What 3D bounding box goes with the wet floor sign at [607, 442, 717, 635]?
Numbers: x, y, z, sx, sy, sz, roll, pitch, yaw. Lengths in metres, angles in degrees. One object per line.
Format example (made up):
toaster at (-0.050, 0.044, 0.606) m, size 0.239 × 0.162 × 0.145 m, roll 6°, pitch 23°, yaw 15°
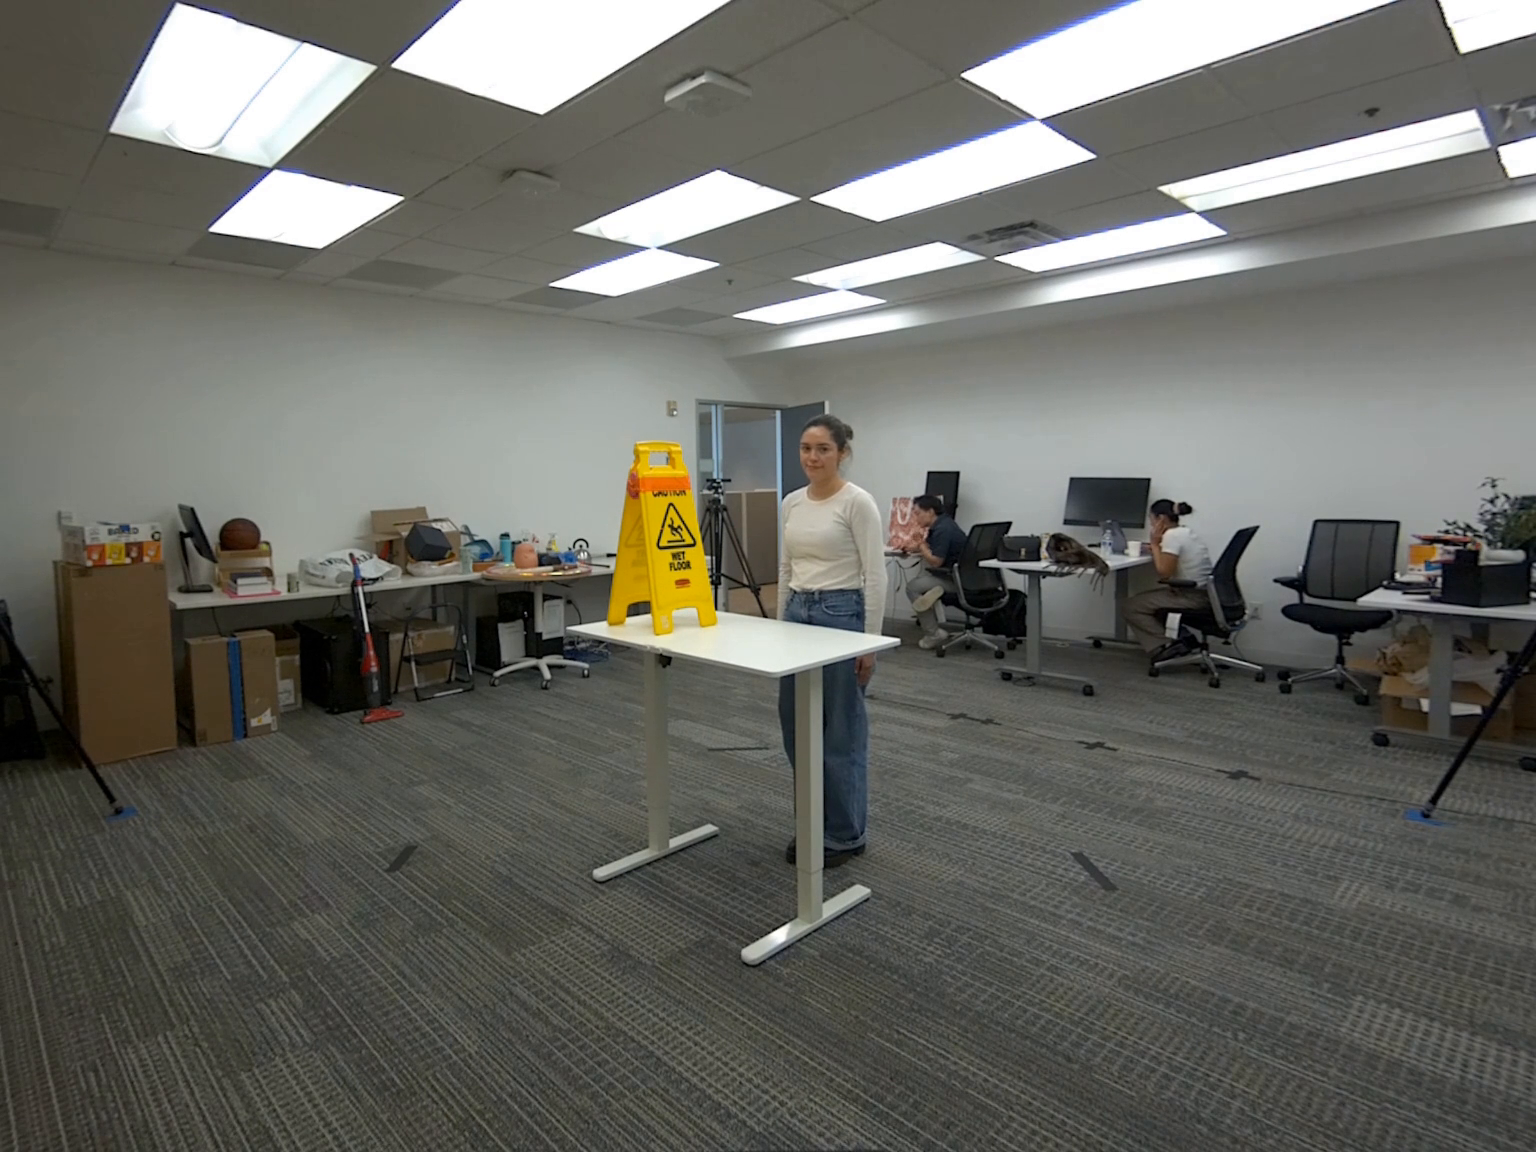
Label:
wet floor sign at (-0.385, -0.145, 3.013) m, size 0.298 × 0.644 × 0.275 m, roll 2°, pitch 5°, yaw 44°
